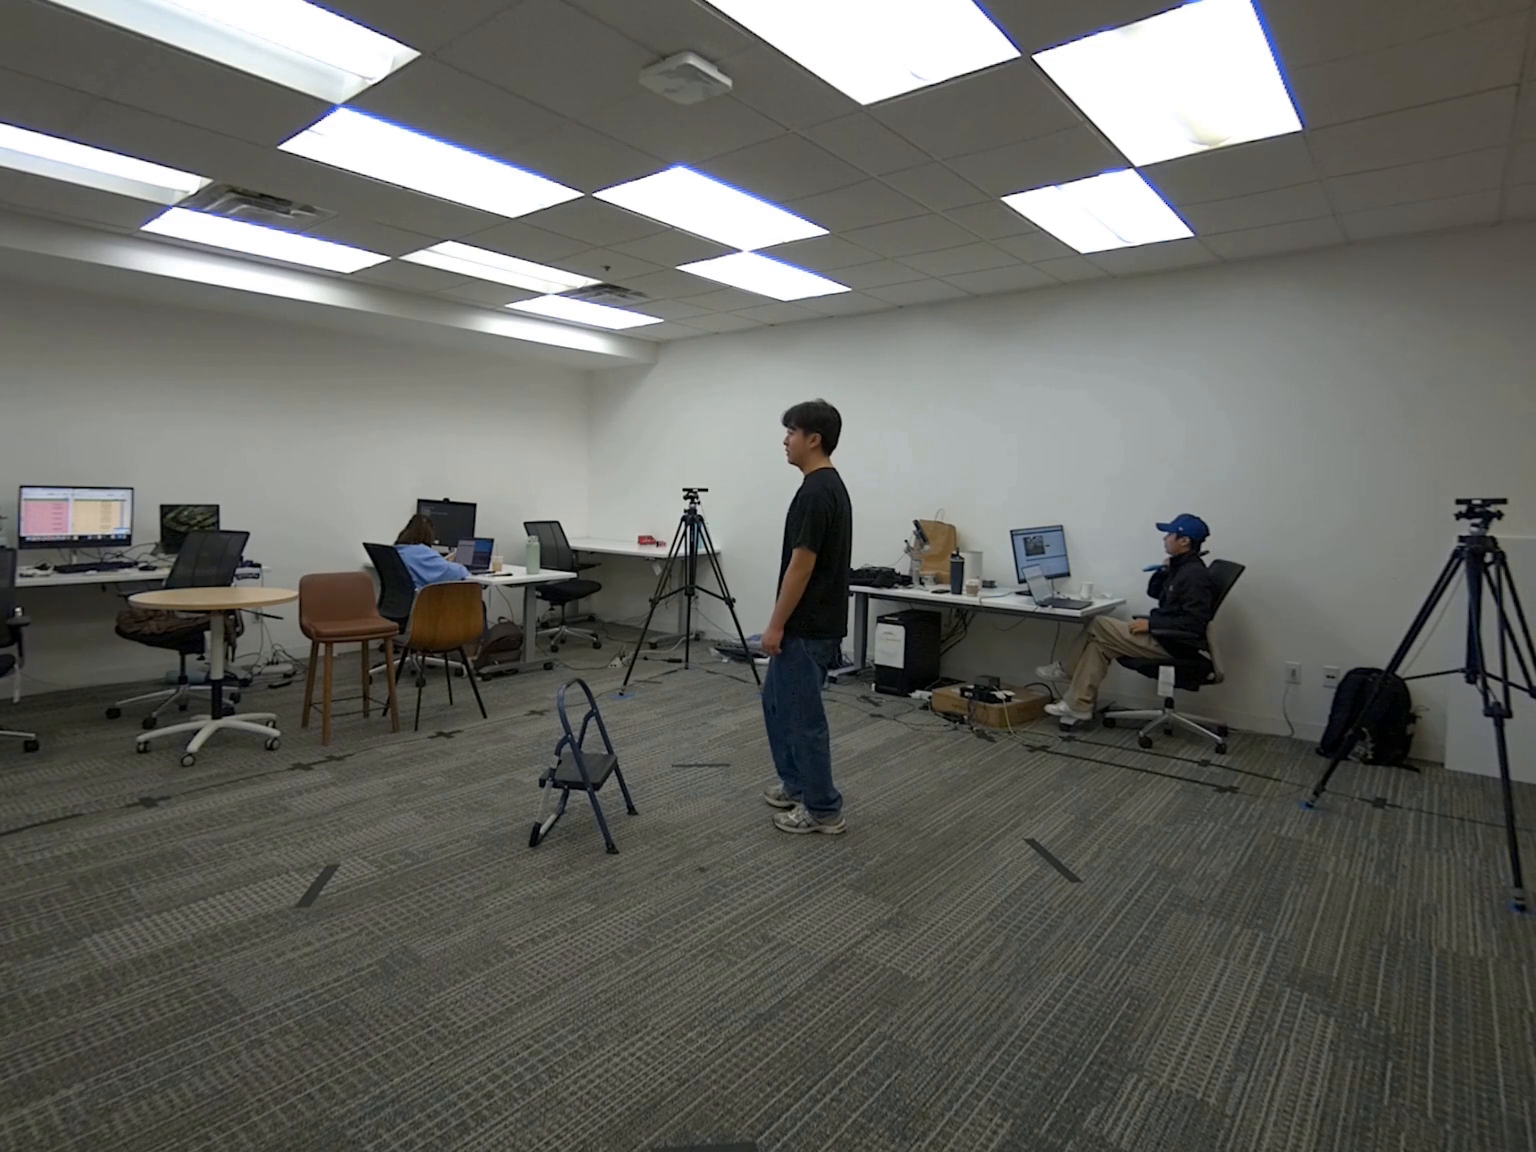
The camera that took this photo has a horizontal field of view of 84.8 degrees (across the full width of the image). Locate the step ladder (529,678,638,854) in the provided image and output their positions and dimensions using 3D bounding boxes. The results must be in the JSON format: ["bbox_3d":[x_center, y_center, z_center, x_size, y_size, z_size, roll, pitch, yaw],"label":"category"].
[{"bbox_3d":[-0.743,0.727,3.435,0.351,0.604,0.430,2,4,4],"label":"step ladder"}]
